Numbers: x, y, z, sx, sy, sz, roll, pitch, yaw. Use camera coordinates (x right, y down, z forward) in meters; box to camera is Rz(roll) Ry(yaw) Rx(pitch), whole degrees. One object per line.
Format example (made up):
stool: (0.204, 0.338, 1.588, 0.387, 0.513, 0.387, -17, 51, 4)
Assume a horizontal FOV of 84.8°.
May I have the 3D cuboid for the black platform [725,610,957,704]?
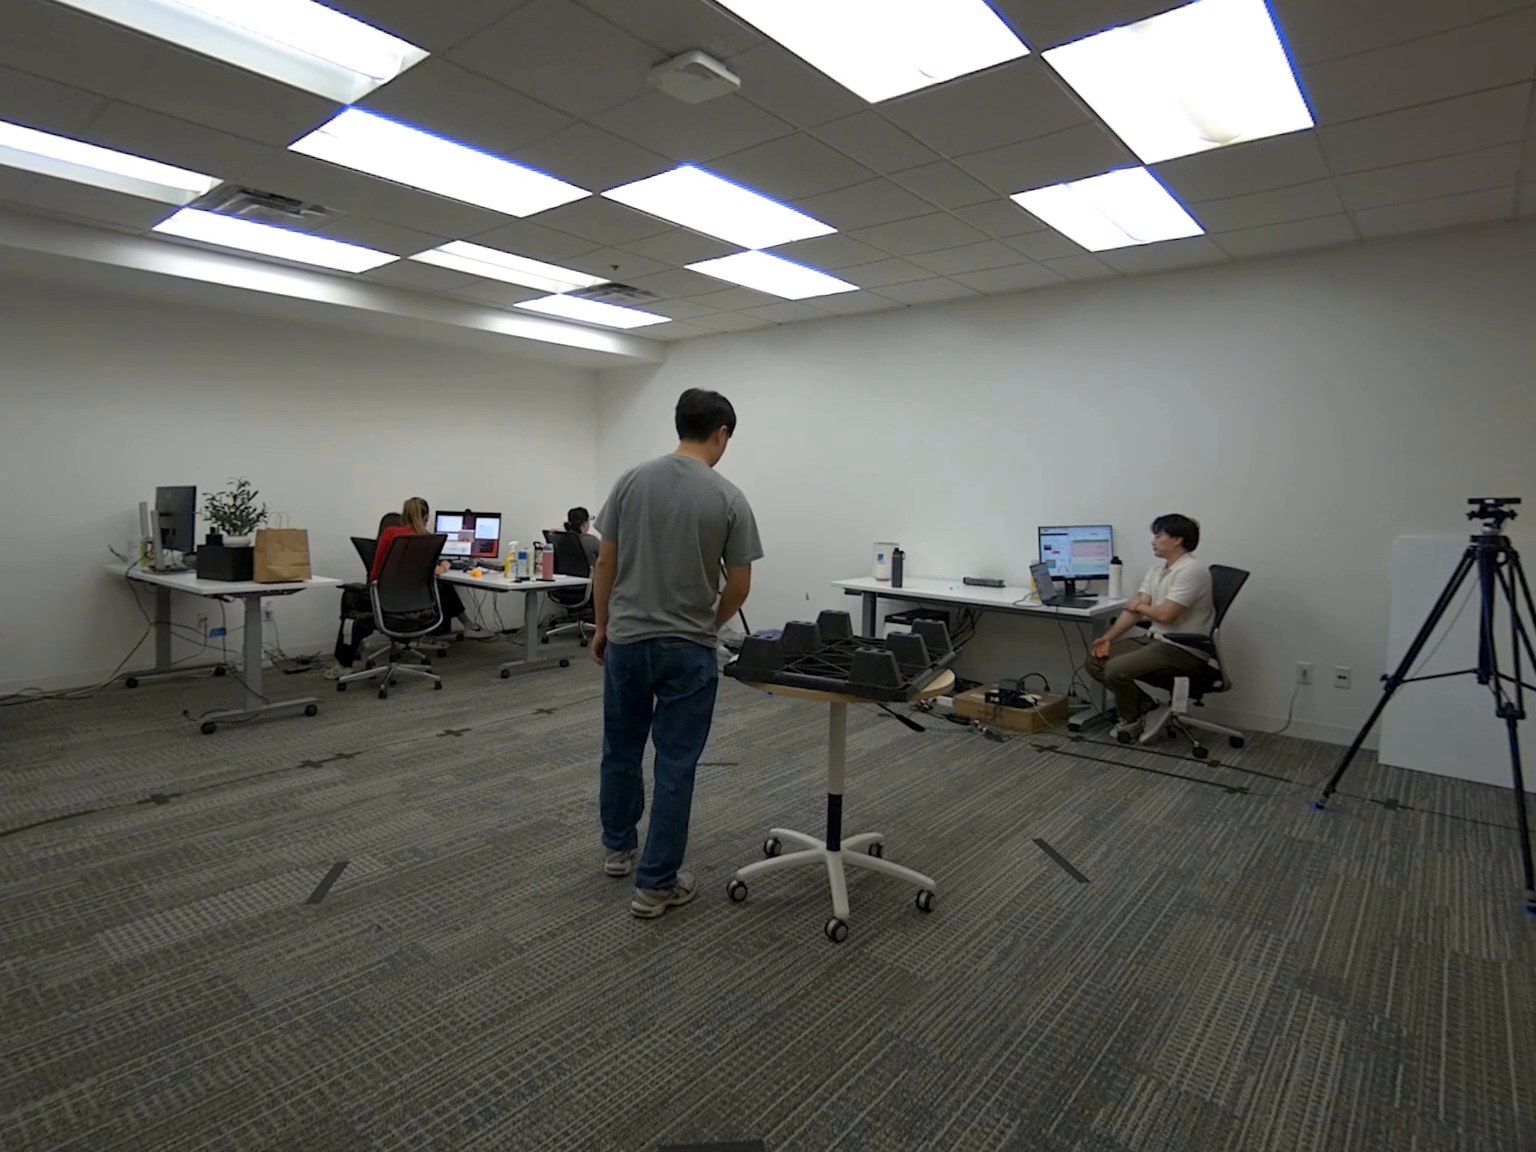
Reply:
black platform: (0.282, 0.249, 2.943, 0.622, 0.142, 0.788, 5, 7, 25)
